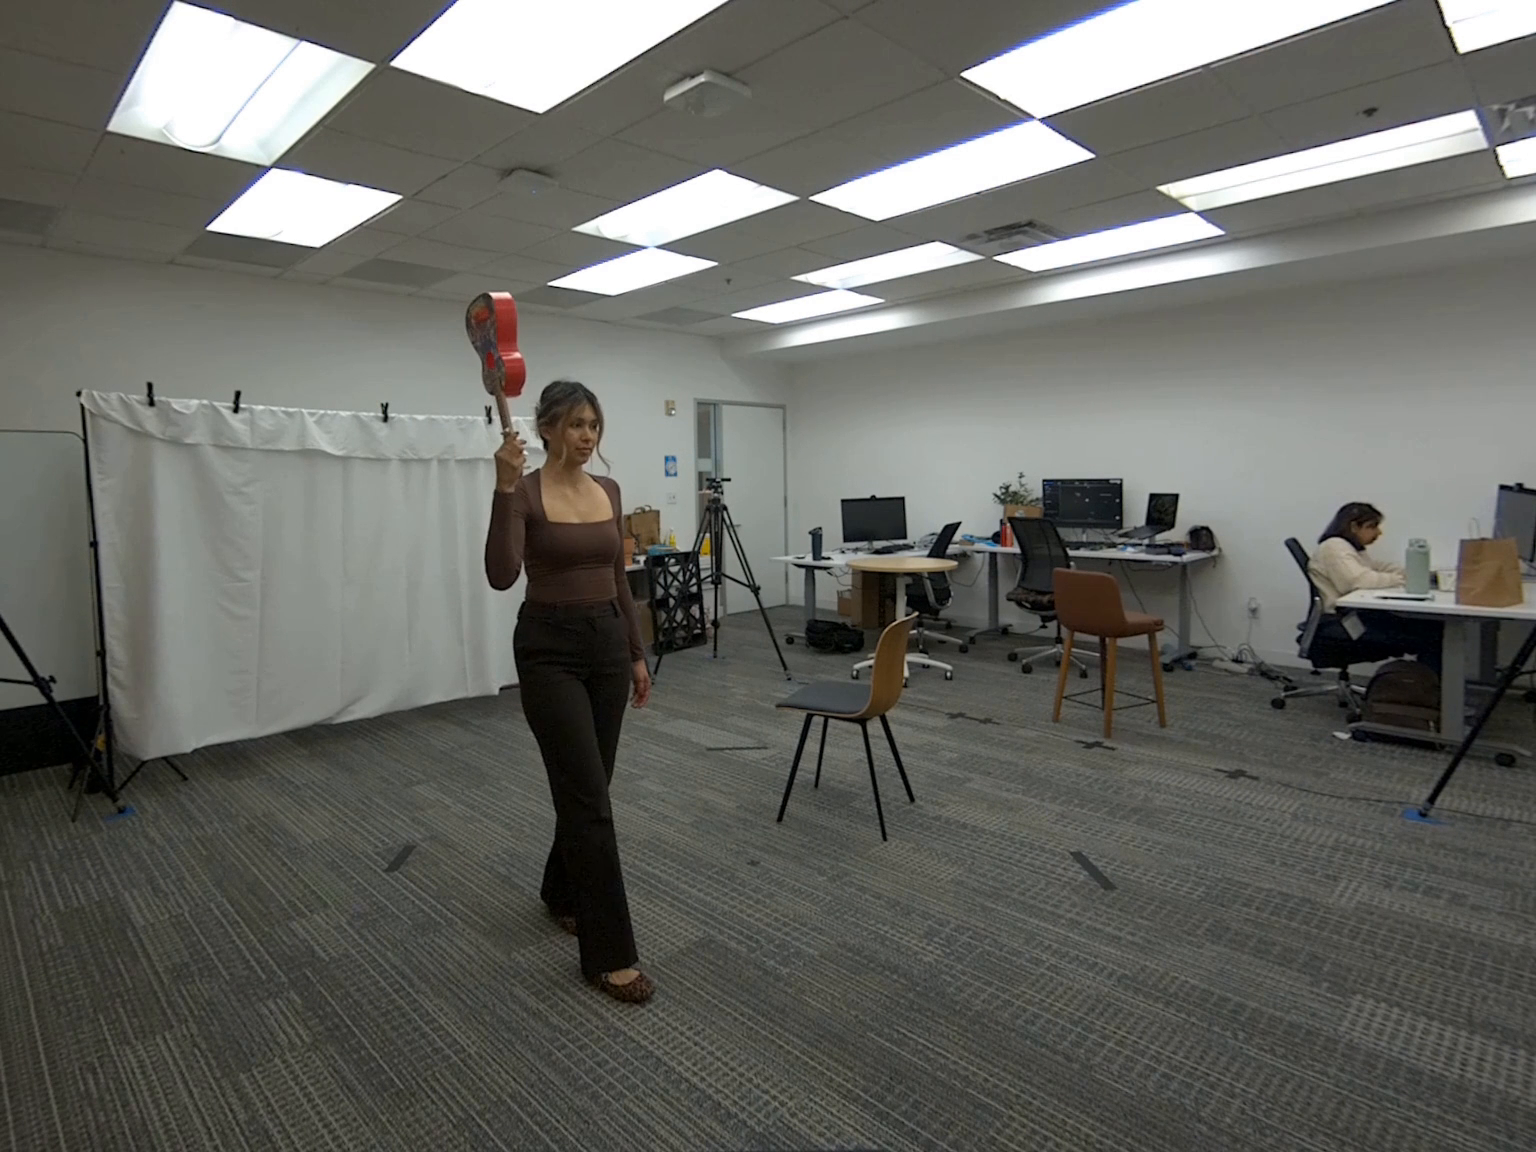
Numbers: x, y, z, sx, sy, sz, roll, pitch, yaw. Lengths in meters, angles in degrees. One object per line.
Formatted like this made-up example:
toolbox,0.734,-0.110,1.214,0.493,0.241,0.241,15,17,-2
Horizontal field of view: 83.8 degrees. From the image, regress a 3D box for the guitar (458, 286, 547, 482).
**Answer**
guitar,-0.717,-0.512,2.321,0.069,0.493,0.199,-16,11,-42
